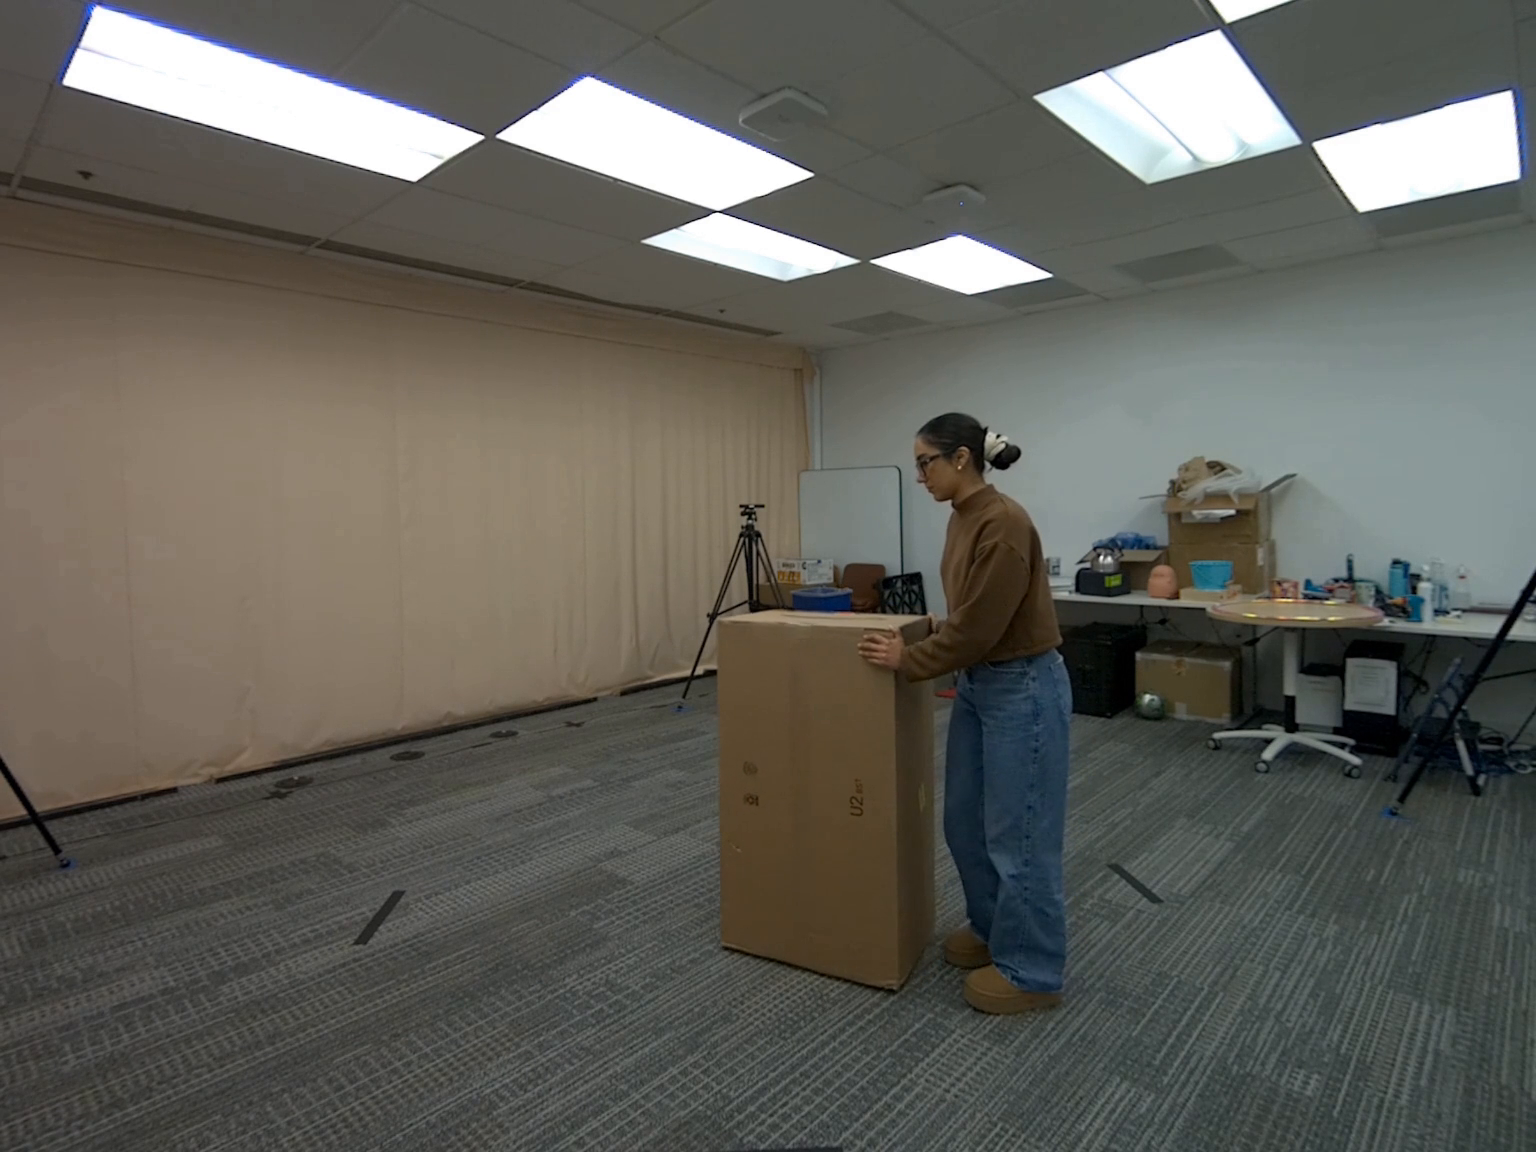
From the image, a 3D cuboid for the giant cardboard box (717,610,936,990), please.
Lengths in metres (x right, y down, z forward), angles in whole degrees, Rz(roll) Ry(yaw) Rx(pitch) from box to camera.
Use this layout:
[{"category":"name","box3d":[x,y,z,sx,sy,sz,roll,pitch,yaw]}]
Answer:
[{"category":"giant cardboard box","box3d":[0.191,0.649,2.689,0.593,1.025,0.415,0,1,28]}]
